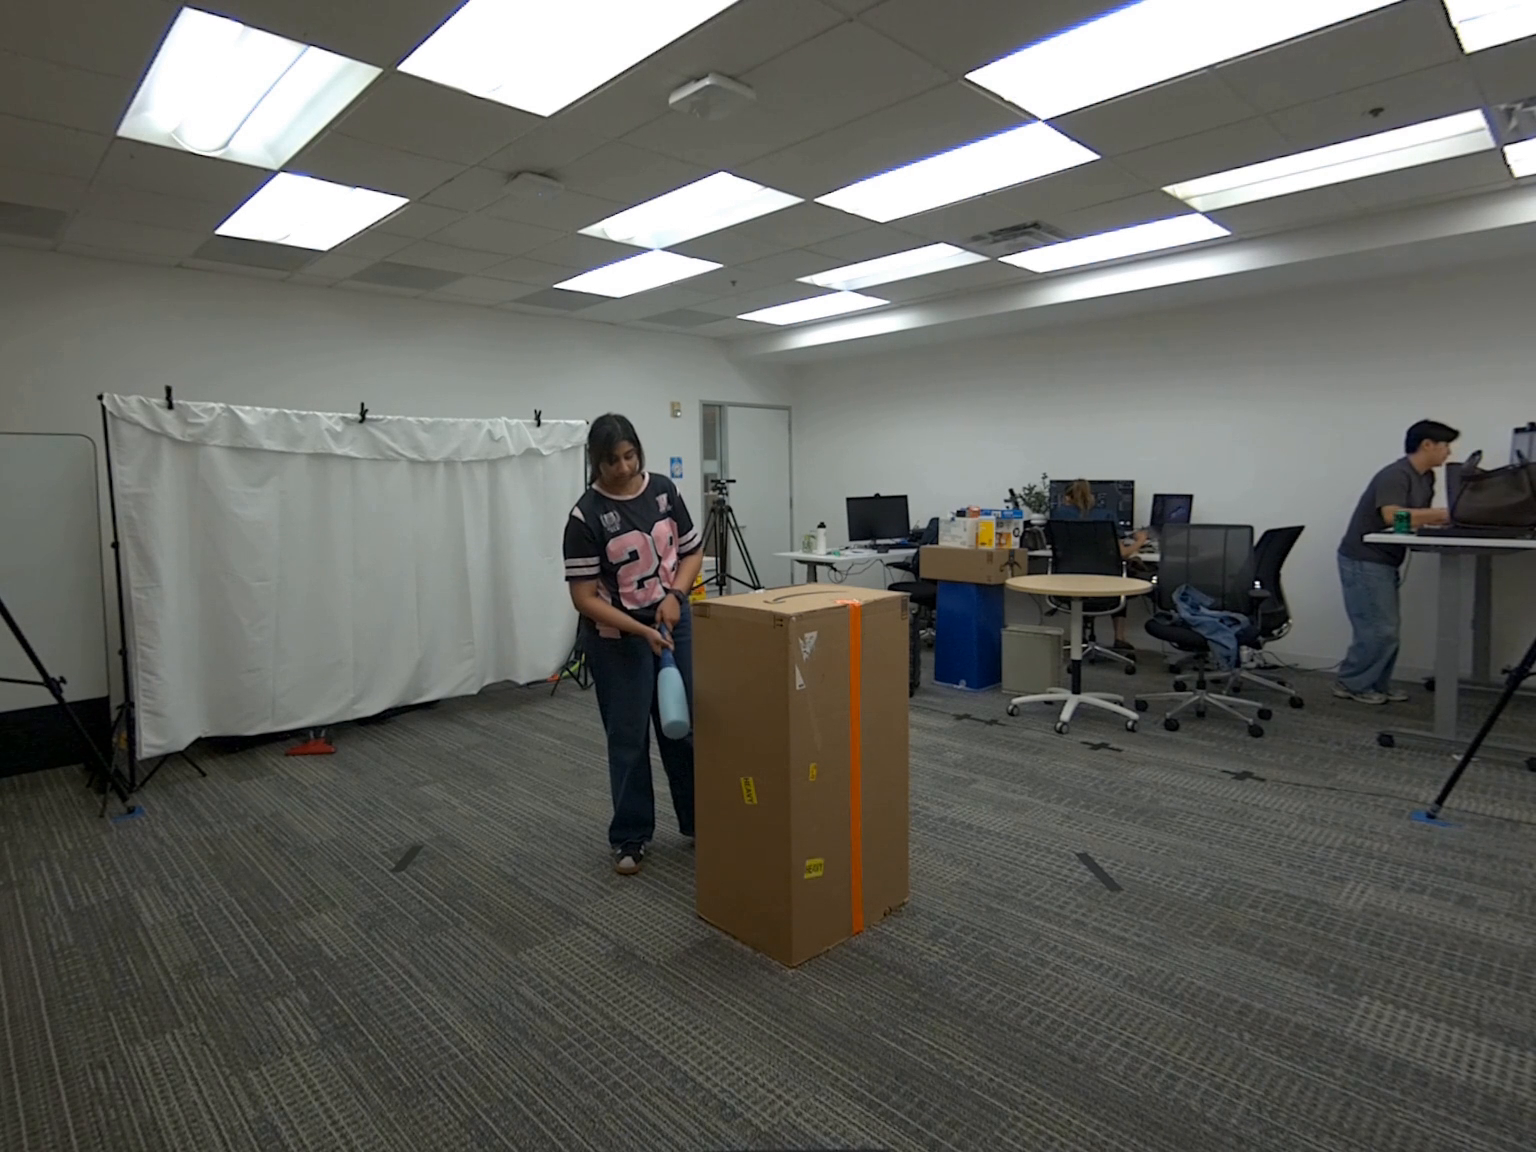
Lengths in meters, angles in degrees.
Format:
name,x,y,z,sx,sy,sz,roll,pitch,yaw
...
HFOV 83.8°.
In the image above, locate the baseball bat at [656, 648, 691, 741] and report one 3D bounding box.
name,x,y,z,sx,sy,sz,roll,pitch,yaw
baseball bat,-0.328,0.311,2.783,0.088,0.087,0.560,-2,35,-10
